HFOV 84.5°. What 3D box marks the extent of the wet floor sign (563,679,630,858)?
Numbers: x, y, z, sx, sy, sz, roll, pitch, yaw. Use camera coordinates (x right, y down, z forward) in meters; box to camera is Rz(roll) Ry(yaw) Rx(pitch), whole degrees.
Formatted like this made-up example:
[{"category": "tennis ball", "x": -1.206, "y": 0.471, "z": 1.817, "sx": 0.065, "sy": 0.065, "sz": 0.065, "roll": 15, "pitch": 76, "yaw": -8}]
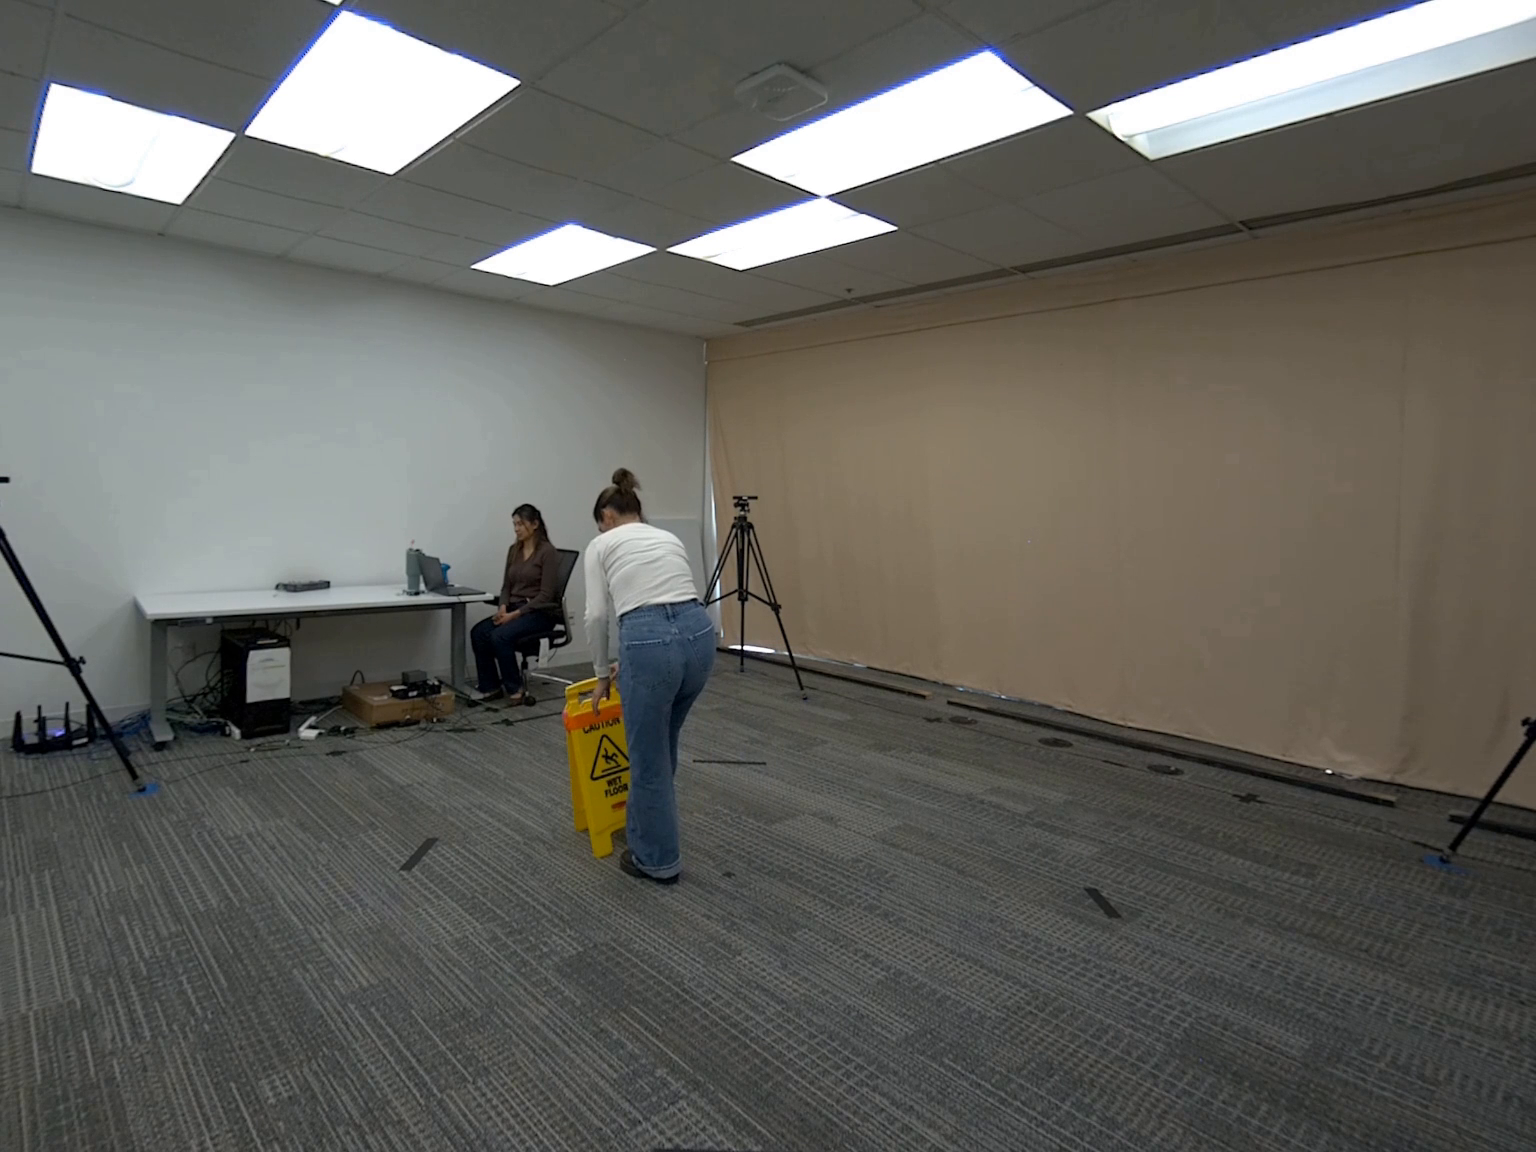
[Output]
[{"category": "wet floor sign", "x": -0.661, "y": 0.728, "z": 3.365, "sx": 0.278, "sy": 0.641, "sz": 0.296, "roll": -13, "pitch": 10, "yaw": -26}]
